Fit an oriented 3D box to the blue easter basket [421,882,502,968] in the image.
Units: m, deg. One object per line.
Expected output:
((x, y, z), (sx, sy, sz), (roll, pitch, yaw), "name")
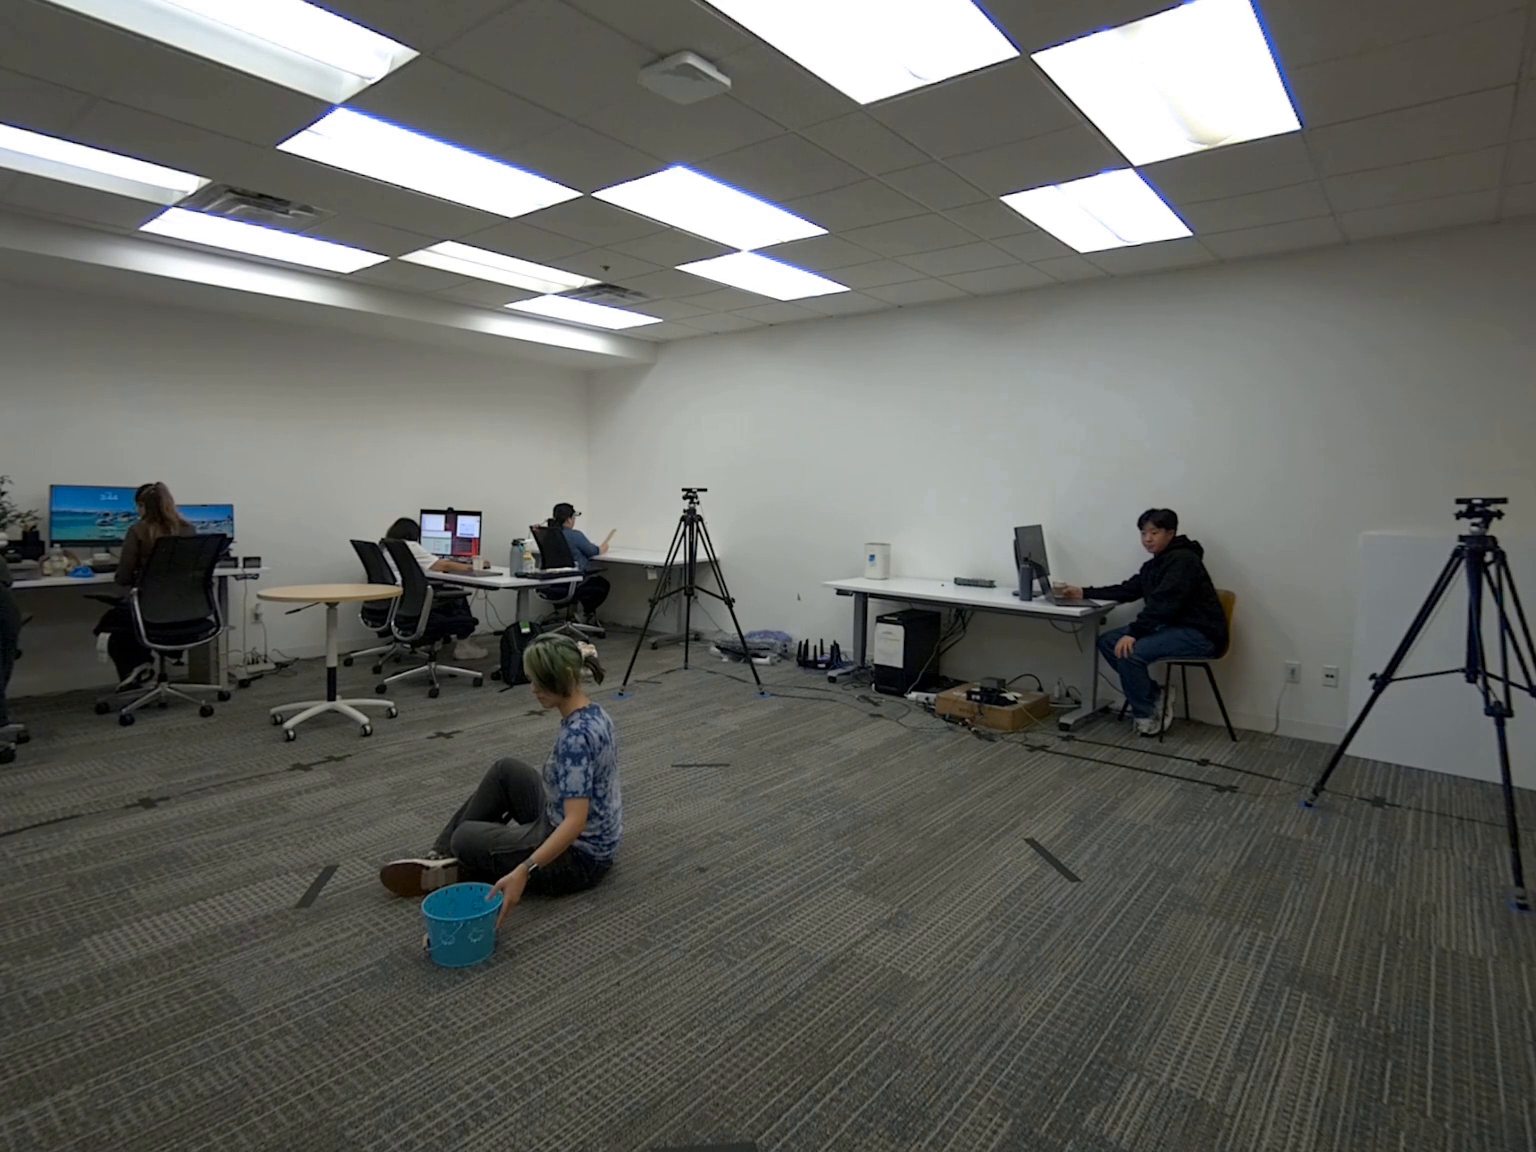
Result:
((-0.931, 1.040, 2.539), (0.243, 0.155, 0.245), (0, 5, -2), "blue easter basket")
